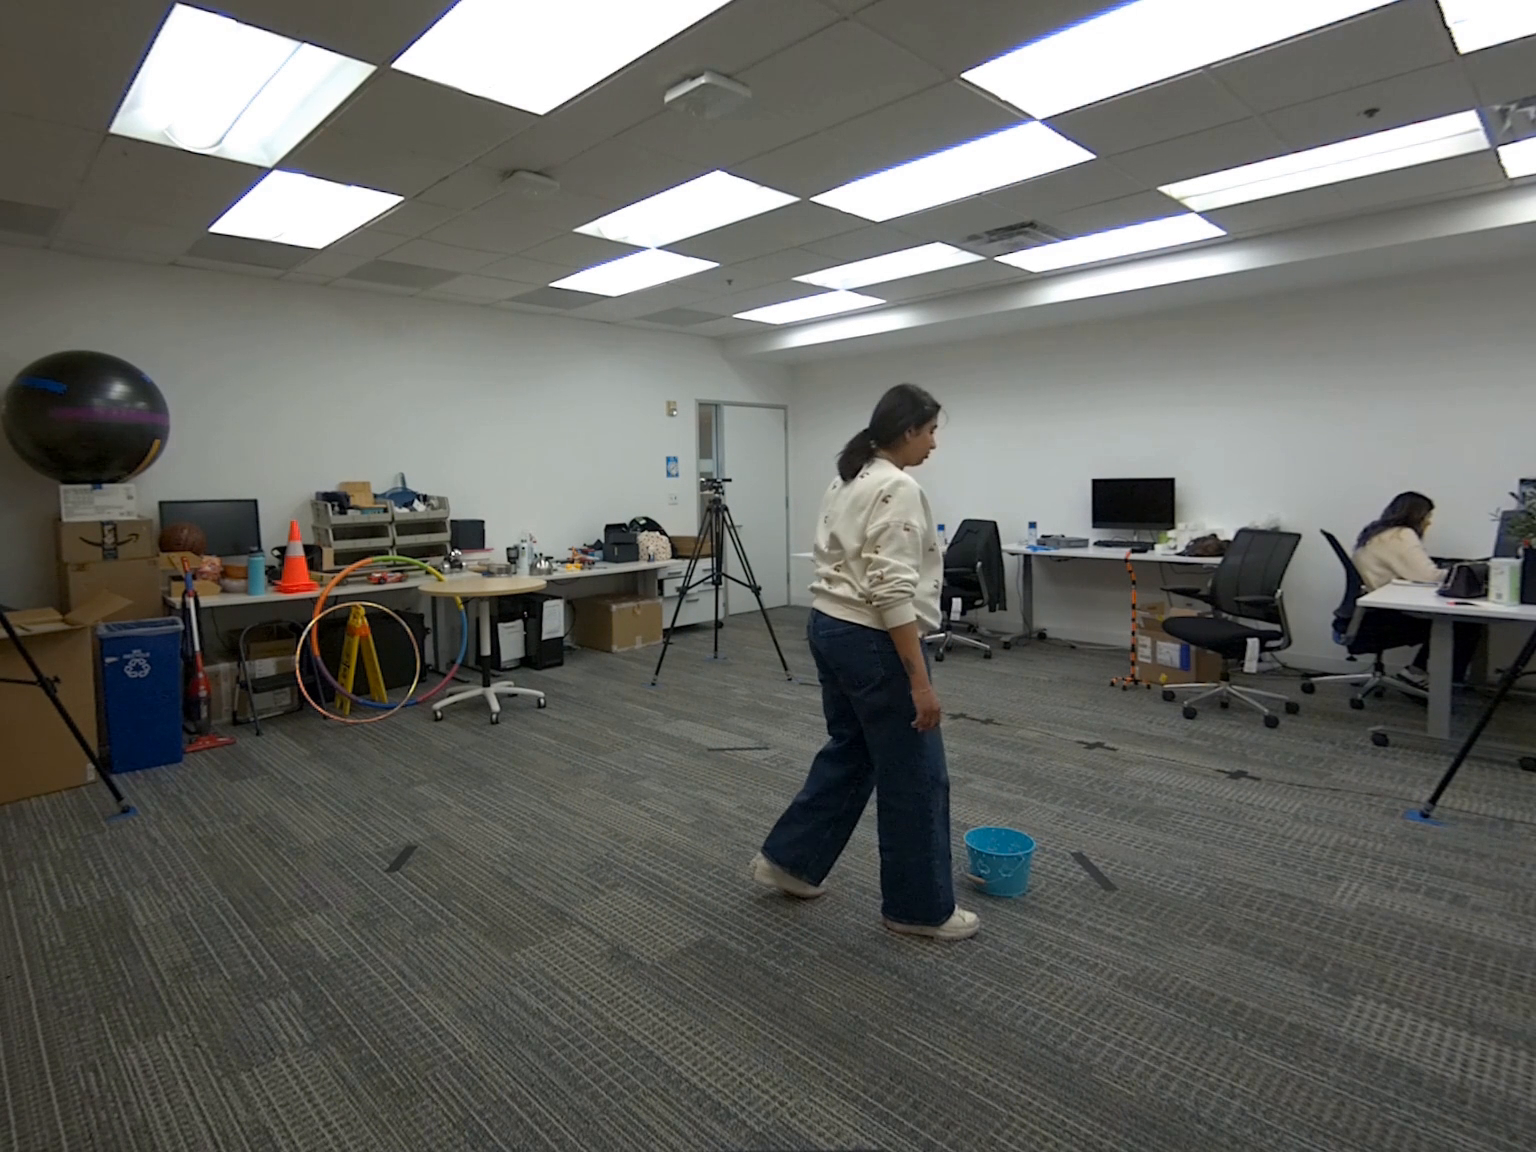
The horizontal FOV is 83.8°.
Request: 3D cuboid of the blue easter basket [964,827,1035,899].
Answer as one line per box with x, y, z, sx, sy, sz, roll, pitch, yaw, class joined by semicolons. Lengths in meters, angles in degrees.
0.784;0.969;2.914;0.243;0.155;0.245;-1;5;-2;blue easter basket
